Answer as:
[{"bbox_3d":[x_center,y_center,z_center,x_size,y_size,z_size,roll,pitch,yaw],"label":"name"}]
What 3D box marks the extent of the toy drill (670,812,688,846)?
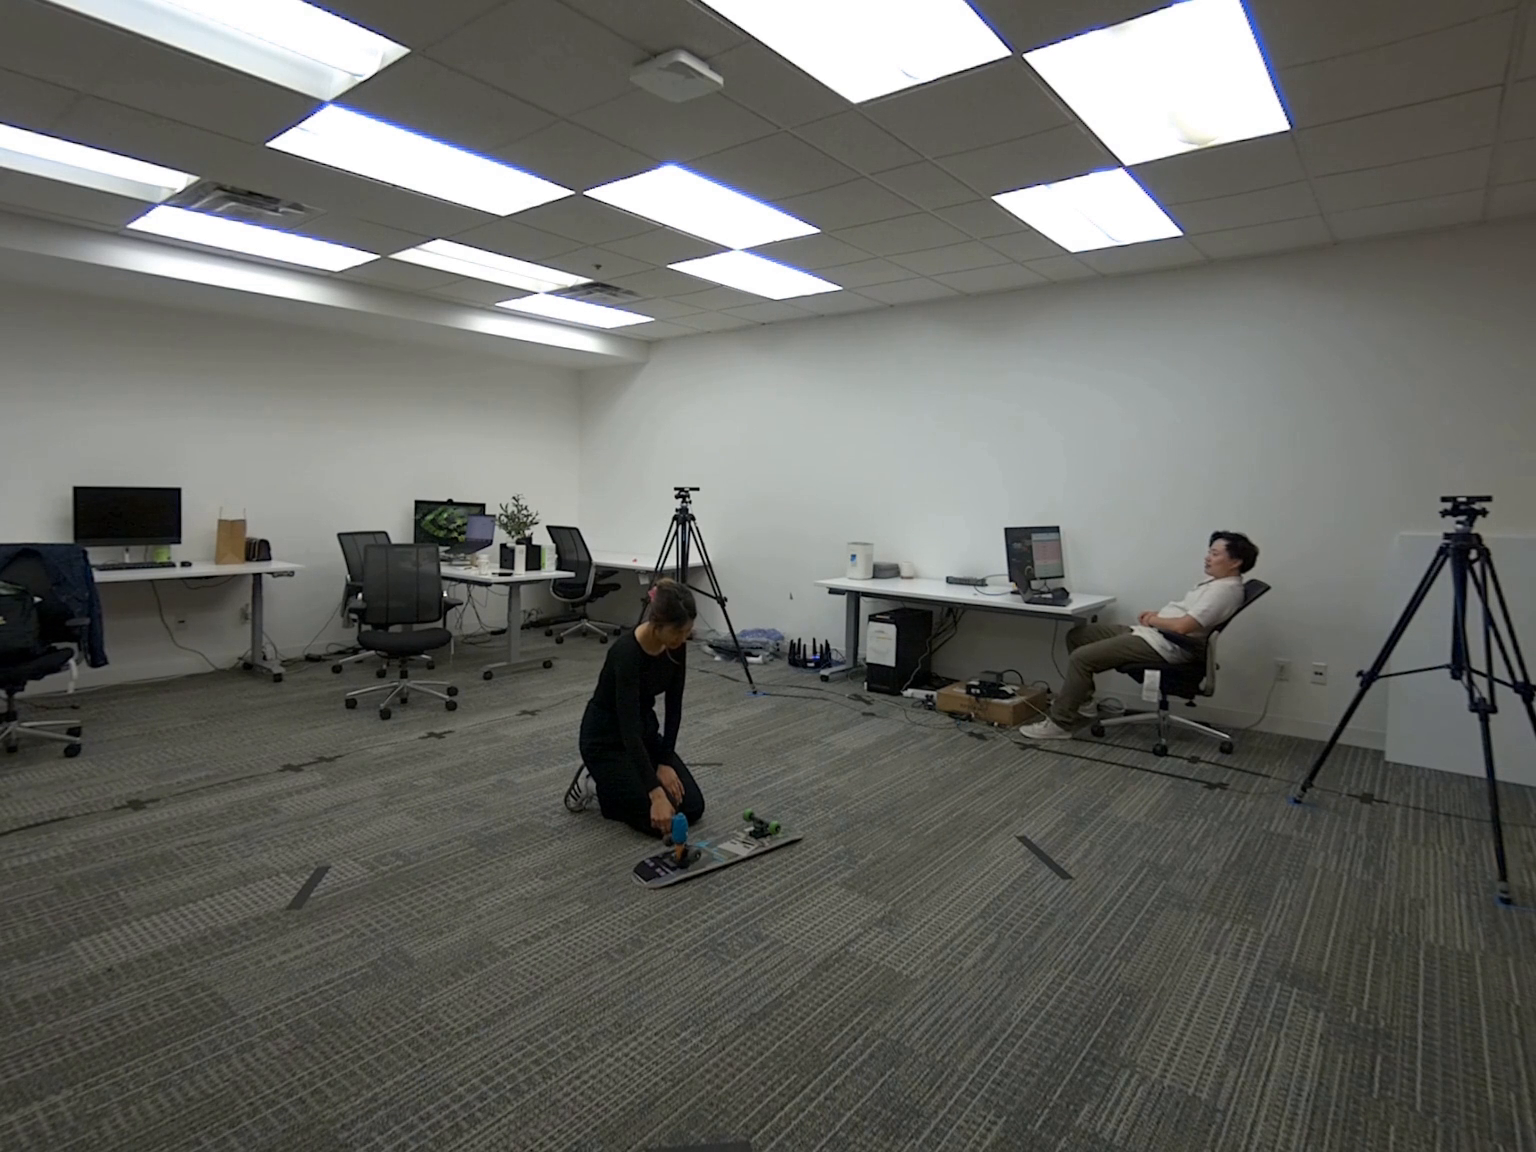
[{"bbox_3d":[-0.362,0.926,3.064,0.150,0.168,0.060,5,9,30],"label":"toy drill"}]
